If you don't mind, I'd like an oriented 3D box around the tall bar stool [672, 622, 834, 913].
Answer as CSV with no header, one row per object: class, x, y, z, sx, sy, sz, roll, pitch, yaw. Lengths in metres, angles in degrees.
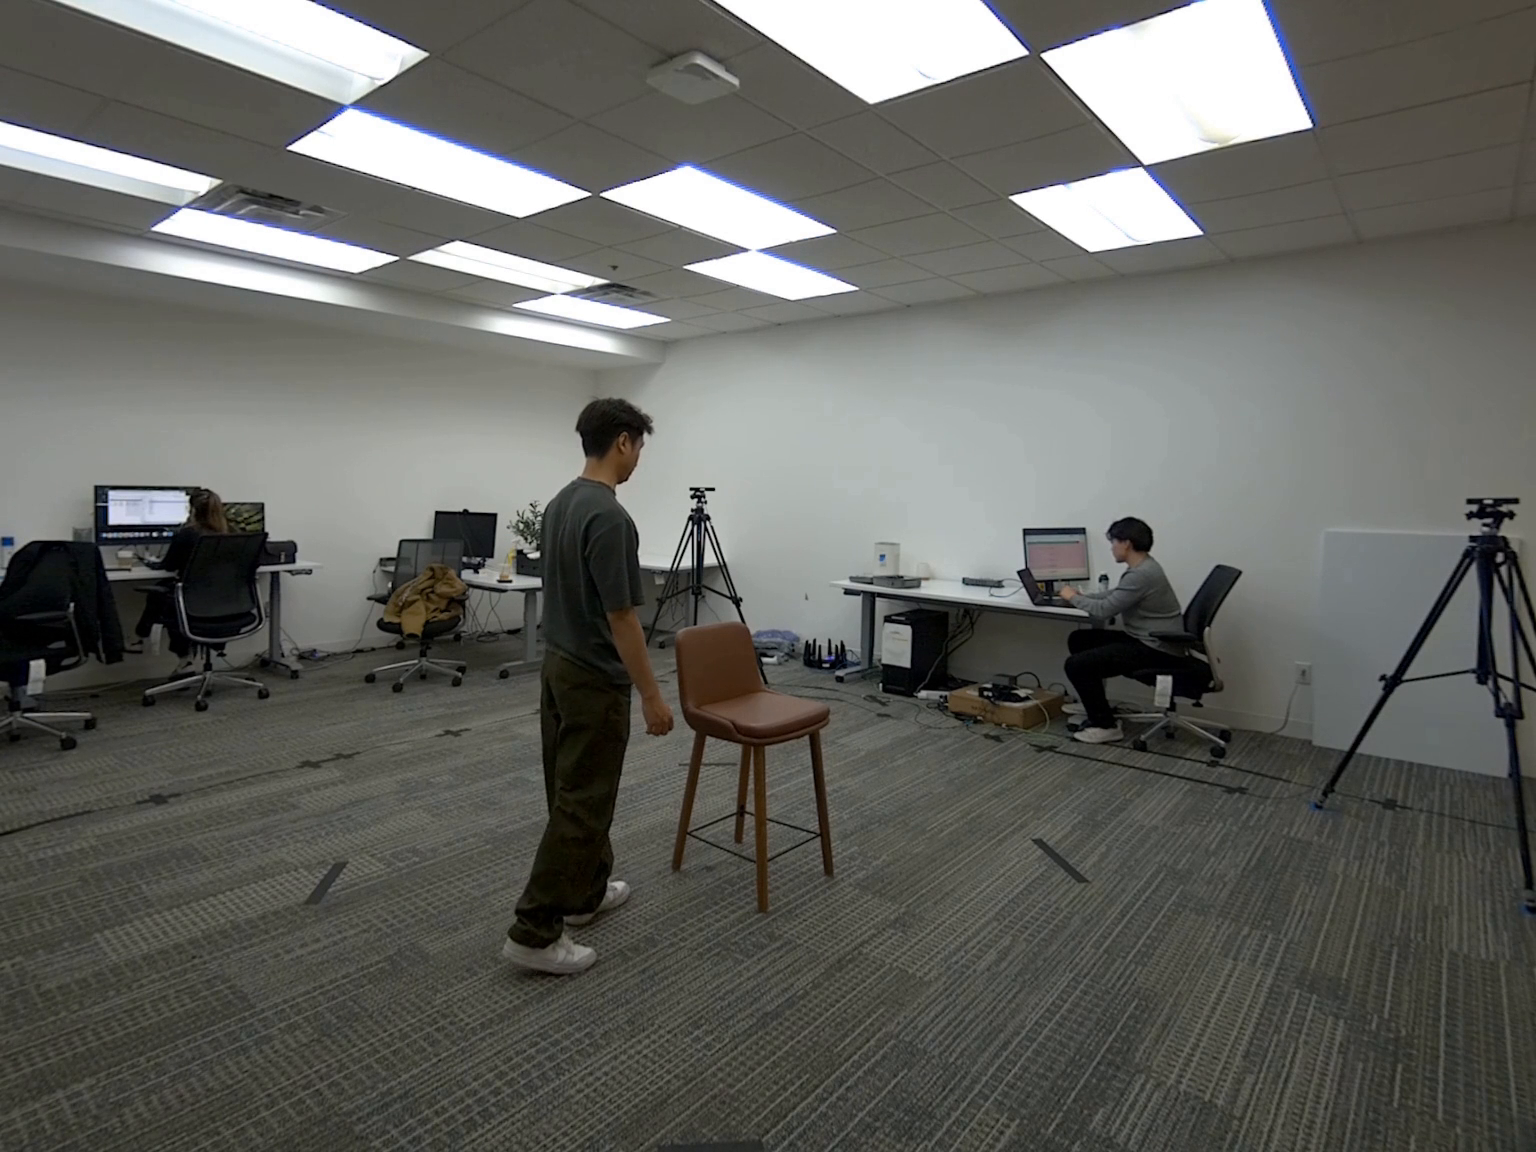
tall bar stool,-0.063,0.638,3.066,0.483,0.888,0.442,2,2,41
